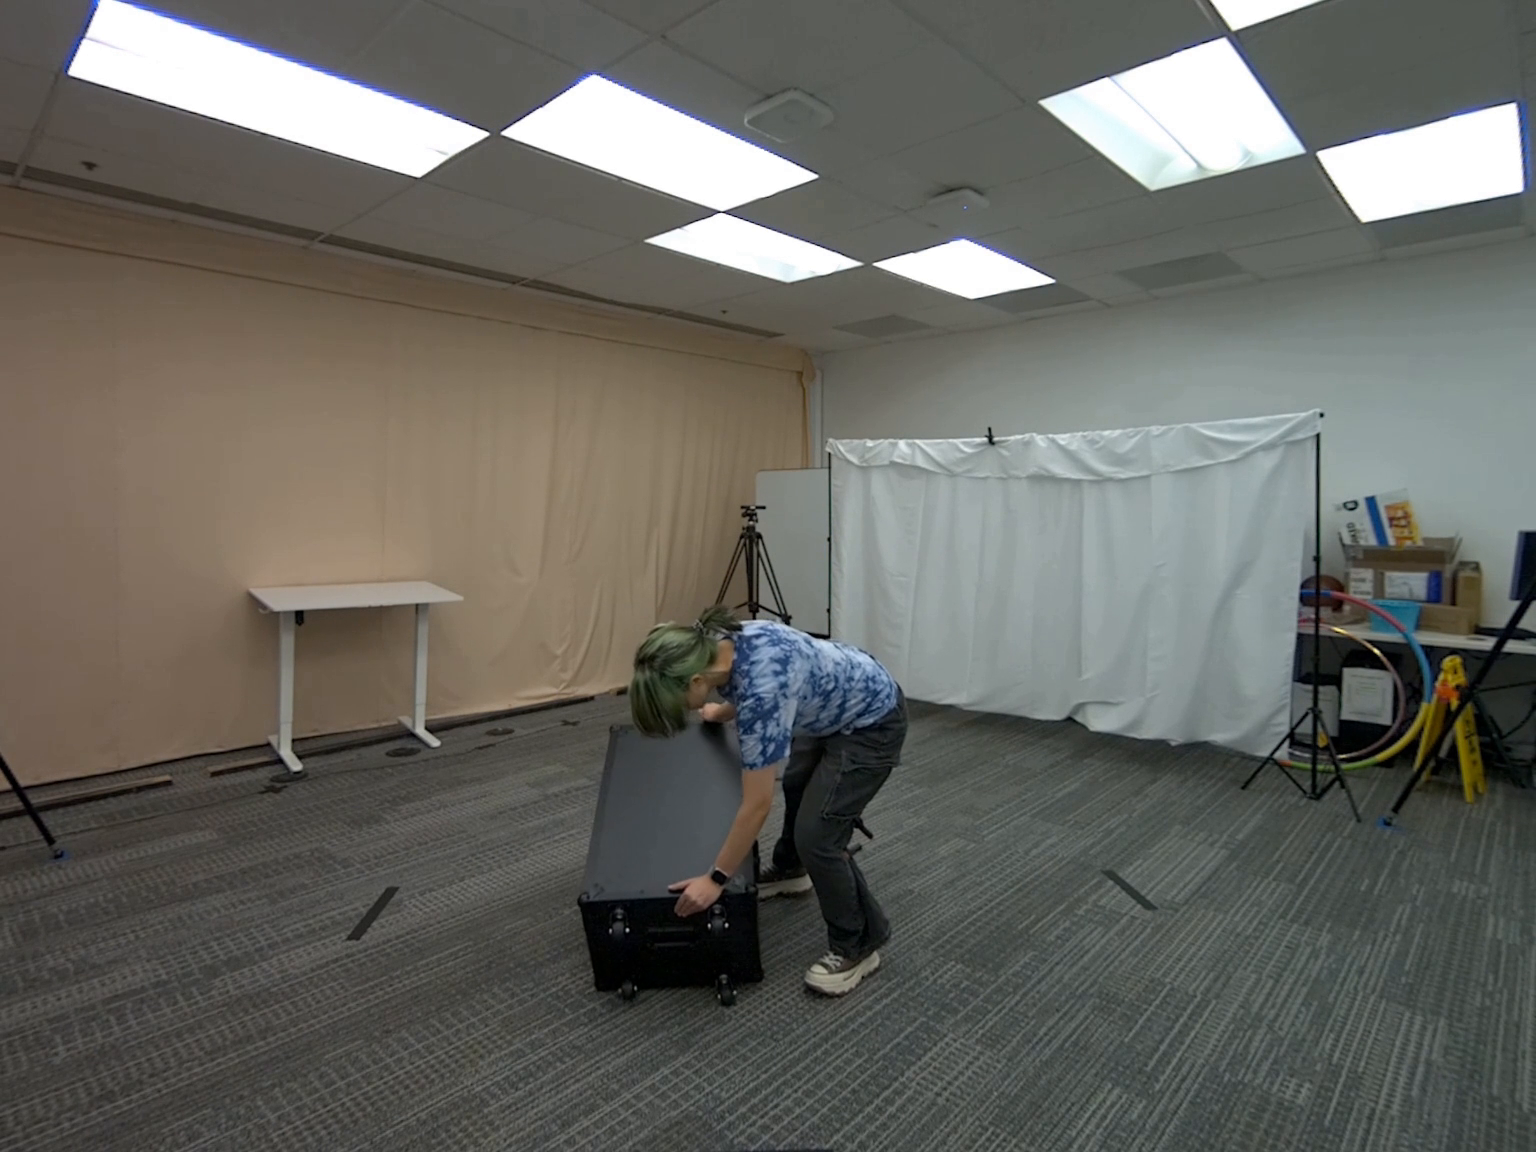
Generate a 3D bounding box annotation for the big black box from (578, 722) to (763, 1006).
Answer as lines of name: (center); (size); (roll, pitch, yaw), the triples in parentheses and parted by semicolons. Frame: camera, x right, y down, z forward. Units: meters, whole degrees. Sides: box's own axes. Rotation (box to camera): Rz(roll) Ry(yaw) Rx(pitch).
big black box: (-0.293, 0.843, 2.710); (0.521, 0.390, 0.876); (-4, 27, -2)
